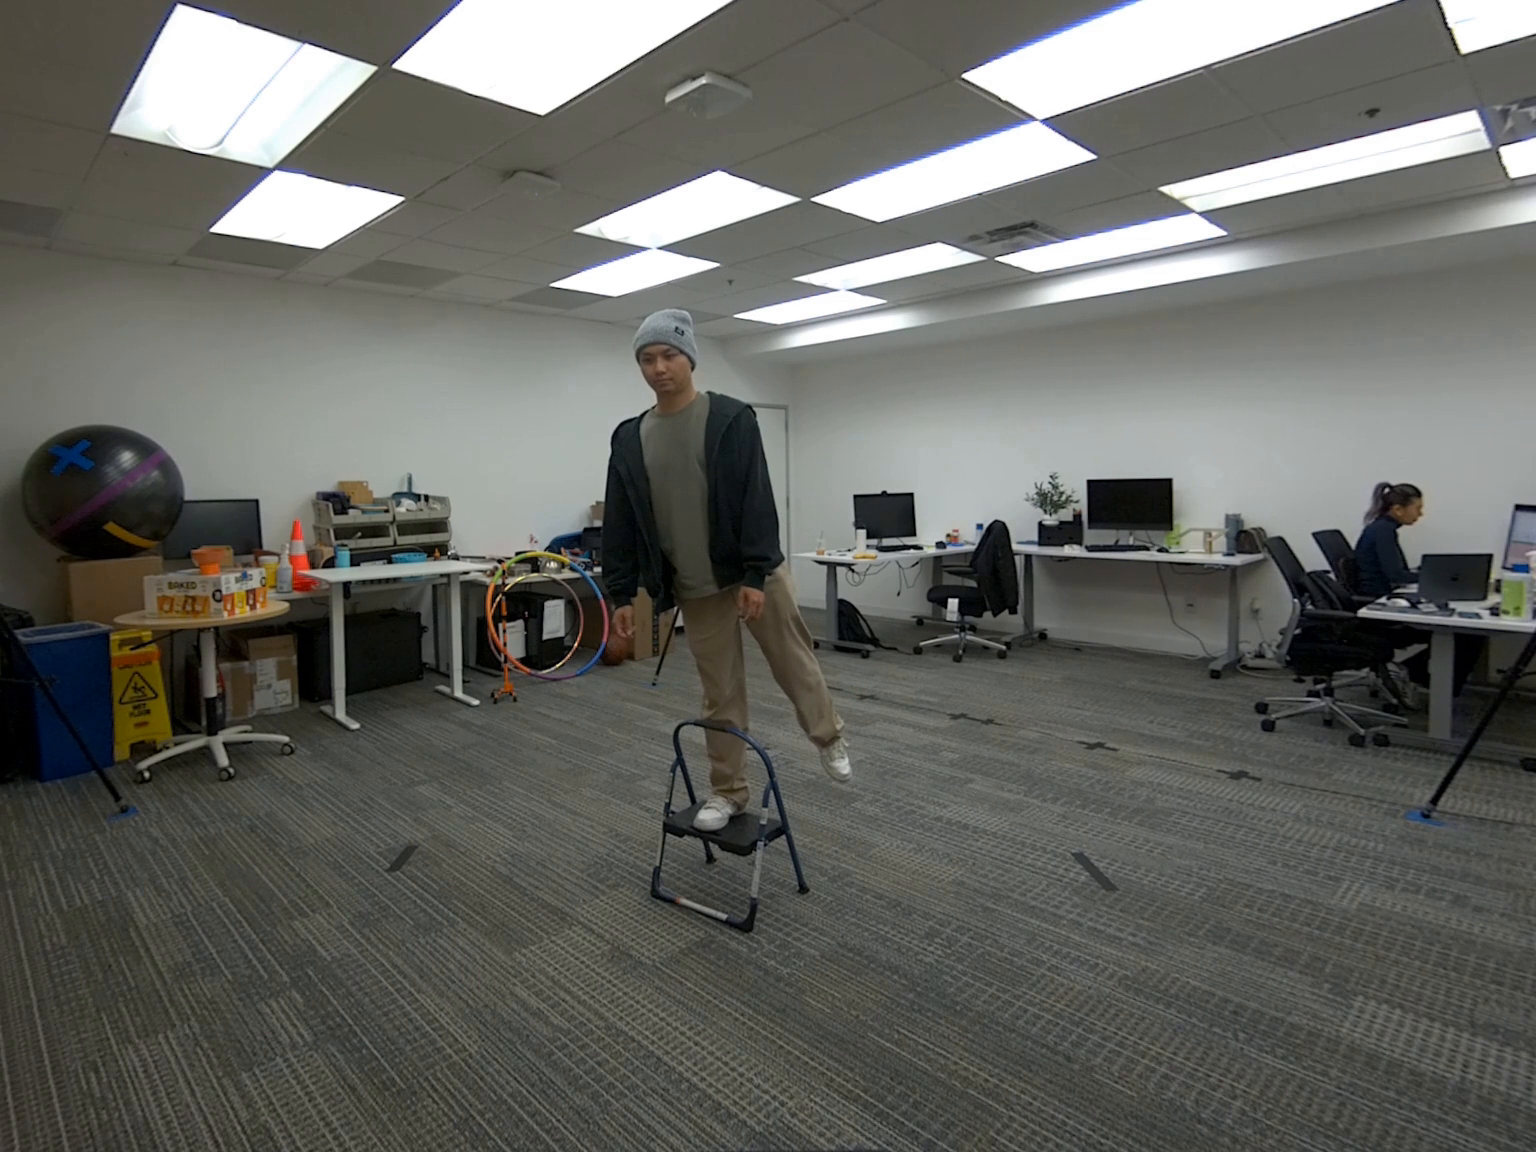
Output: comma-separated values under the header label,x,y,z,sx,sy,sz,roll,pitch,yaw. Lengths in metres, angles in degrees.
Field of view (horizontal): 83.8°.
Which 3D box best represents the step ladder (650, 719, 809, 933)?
label,x,y,z,sx,sy,sz,roll,pitch,yaw
step ladder,-0.134,0.772,2.865,0.443,0.604,0.341,2,6,35
